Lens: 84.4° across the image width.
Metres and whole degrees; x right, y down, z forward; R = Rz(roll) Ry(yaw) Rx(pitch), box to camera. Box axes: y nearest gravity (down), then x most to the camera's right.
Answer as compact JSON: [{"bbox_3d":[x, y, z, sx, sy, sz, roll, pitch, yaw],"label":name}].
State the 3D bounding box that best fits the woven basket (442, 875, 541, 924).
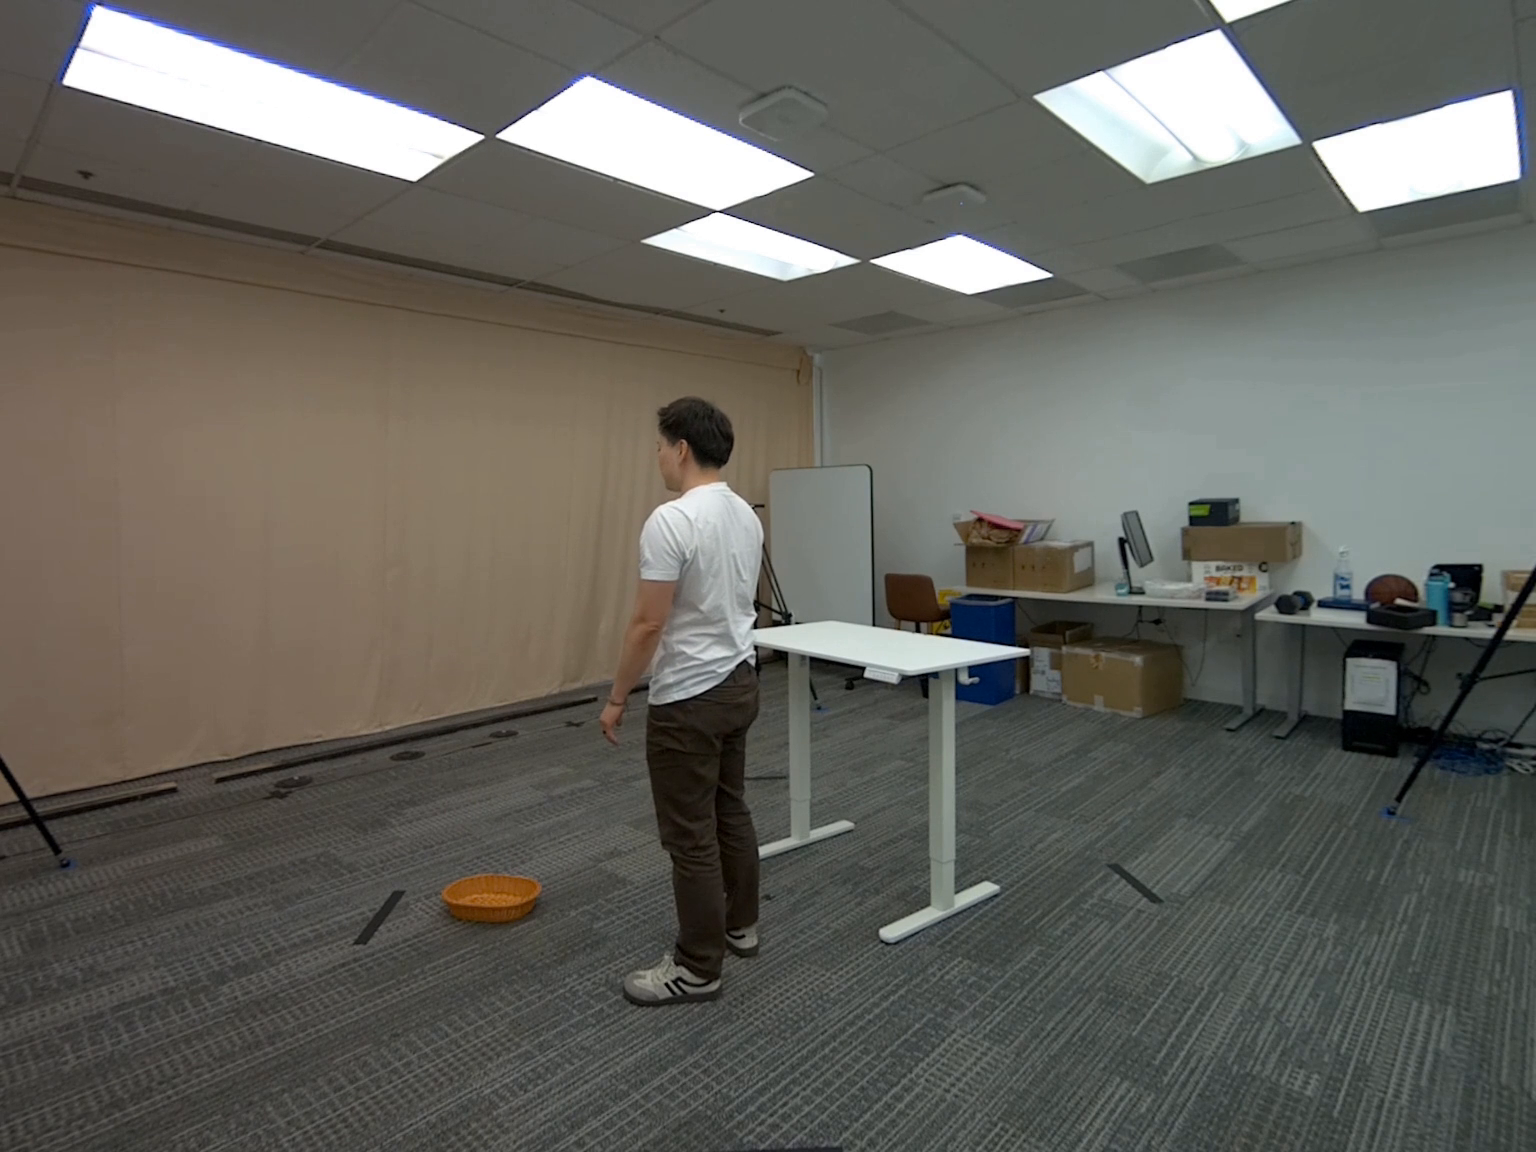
[{"bbox_3d":[-0.962,1.128,2.939,0.355,0.073,0.249,-1,4,12],"label":"woven basket"}]
